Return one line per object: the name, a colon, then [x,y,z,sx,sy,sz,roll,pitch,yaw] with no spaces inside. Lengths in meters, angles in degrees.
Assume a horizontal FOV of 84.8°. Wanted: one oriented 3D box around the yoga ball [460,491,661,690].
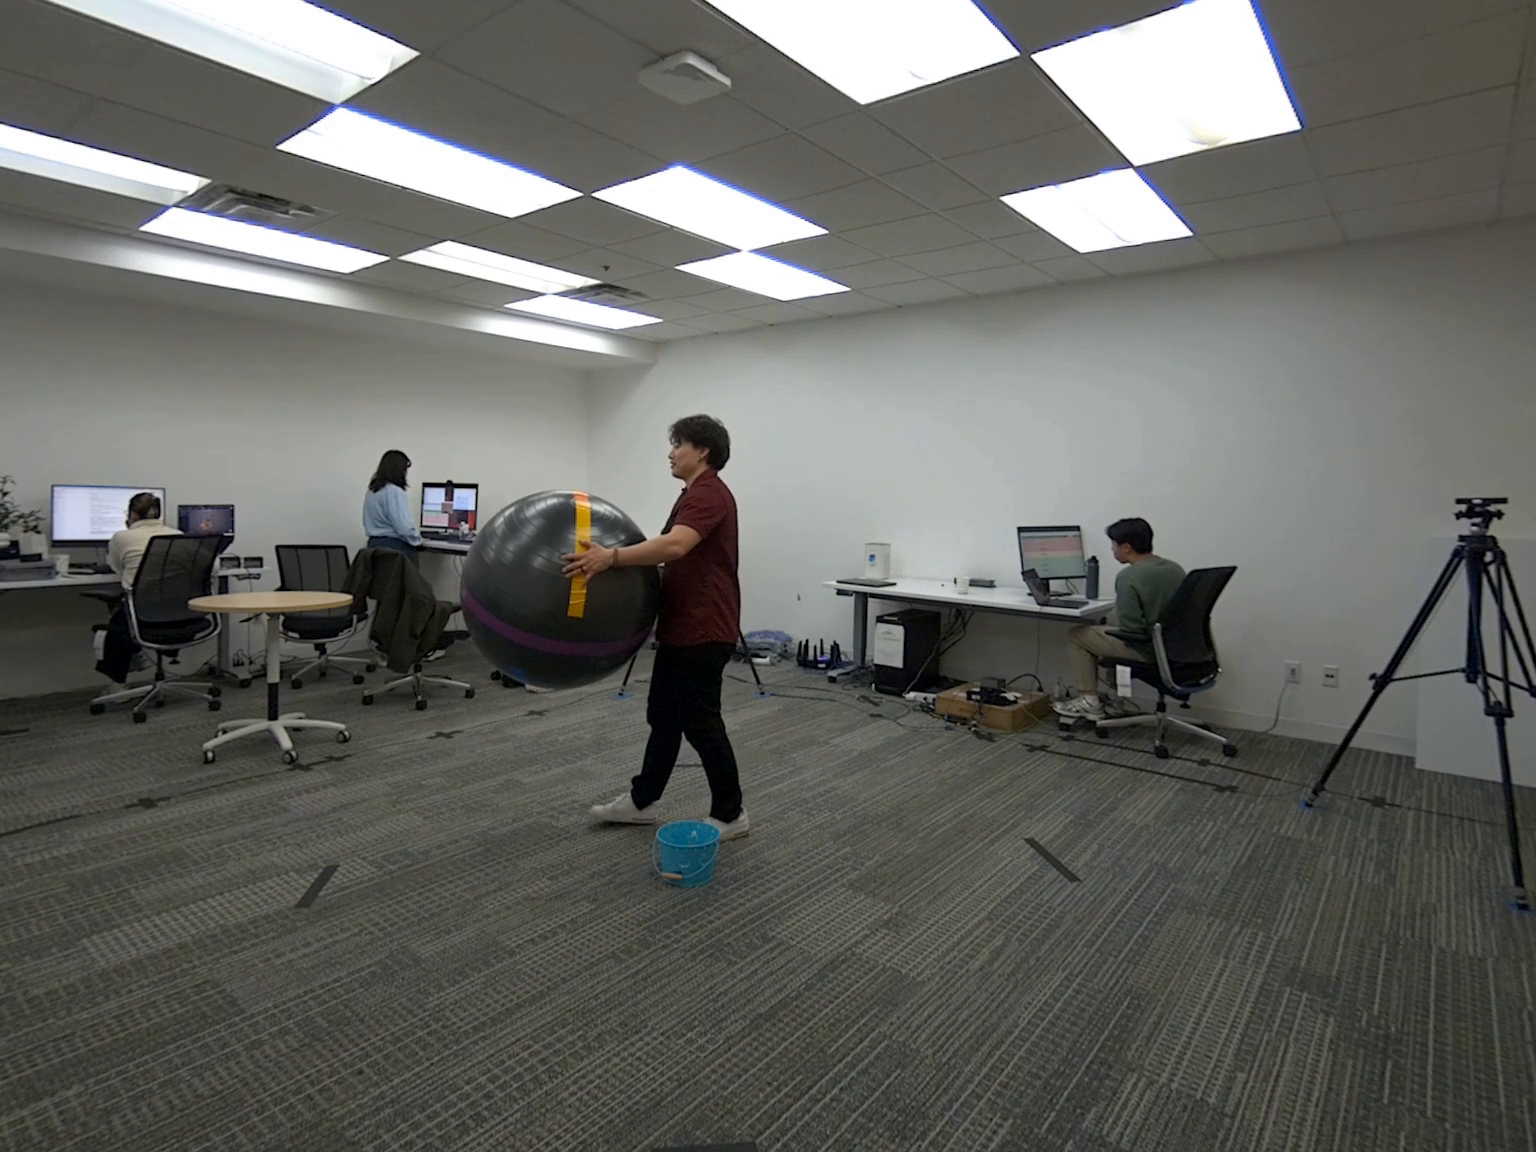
yoga ball: [-0.795,0.050,3.277,0.757,0.756,0.761,1,4,-2]
